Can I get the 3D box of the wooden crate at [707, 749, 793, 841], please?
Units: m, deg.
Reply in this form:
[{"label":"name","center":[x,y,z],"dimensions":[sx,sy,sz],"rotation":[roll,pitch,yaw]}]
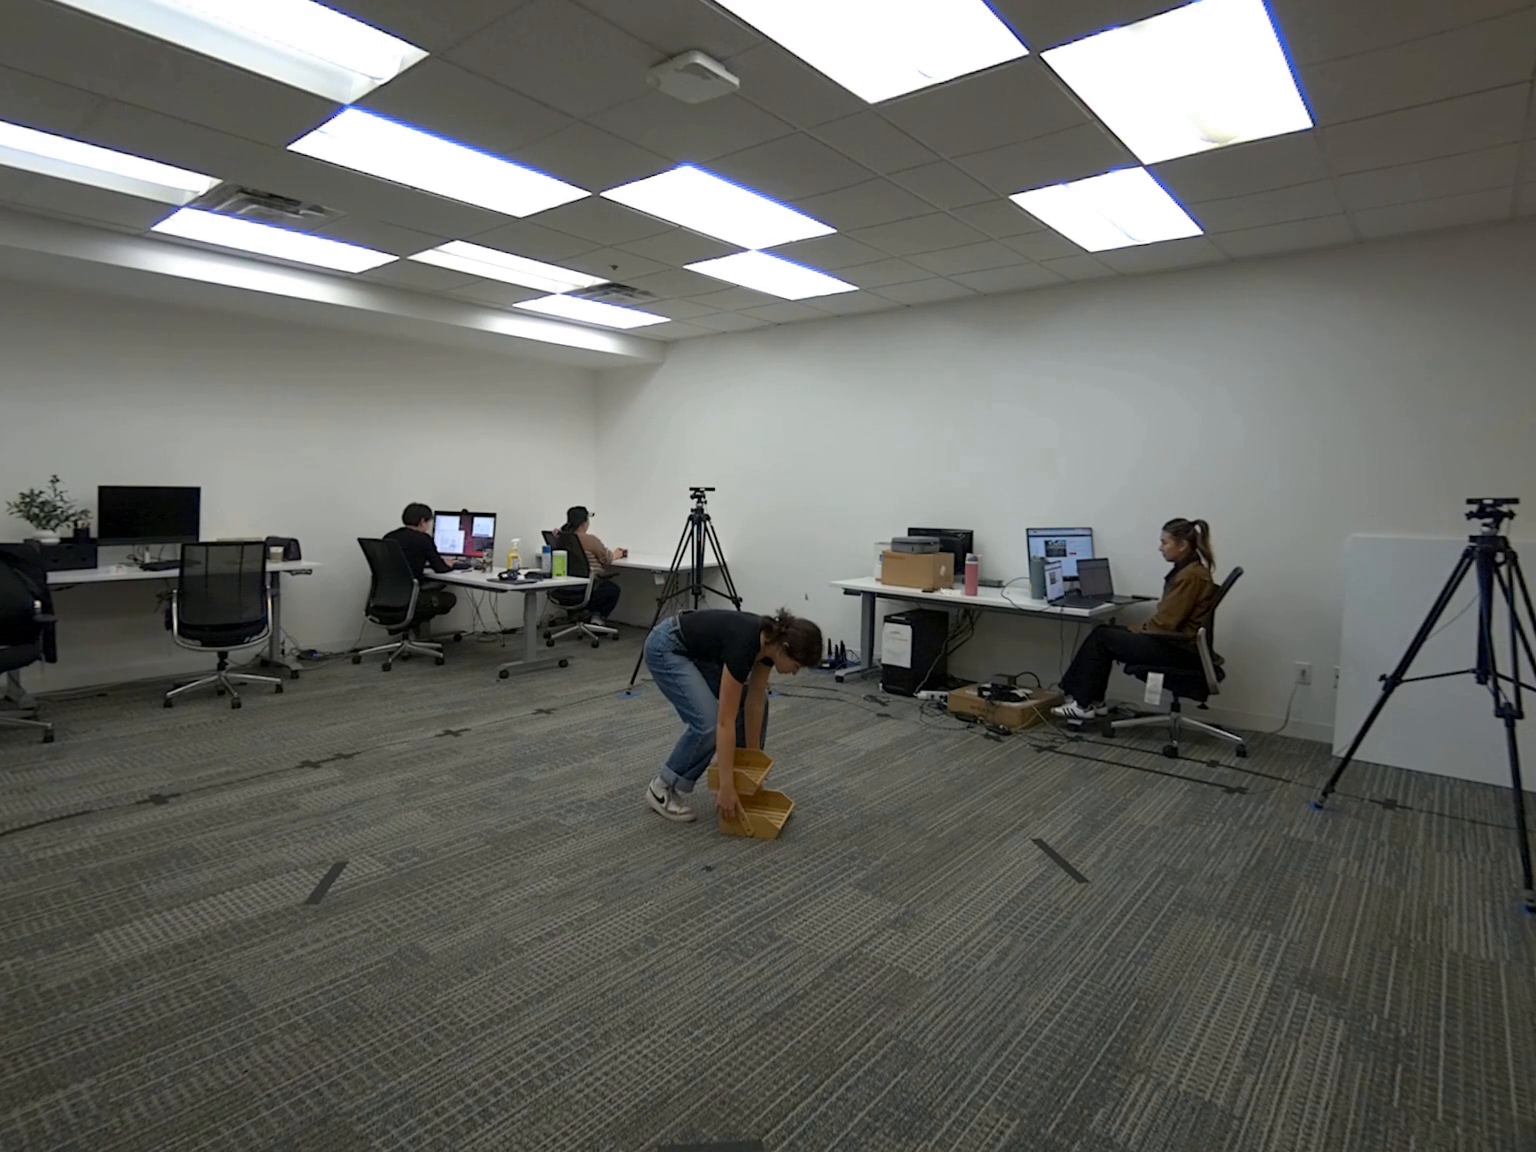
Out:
[{"label":"wooden crate","center":[-0.072,0.891,3.548],"dimensions":[0.307,0.272,0.320],"rotation":[0,4,15]}]
